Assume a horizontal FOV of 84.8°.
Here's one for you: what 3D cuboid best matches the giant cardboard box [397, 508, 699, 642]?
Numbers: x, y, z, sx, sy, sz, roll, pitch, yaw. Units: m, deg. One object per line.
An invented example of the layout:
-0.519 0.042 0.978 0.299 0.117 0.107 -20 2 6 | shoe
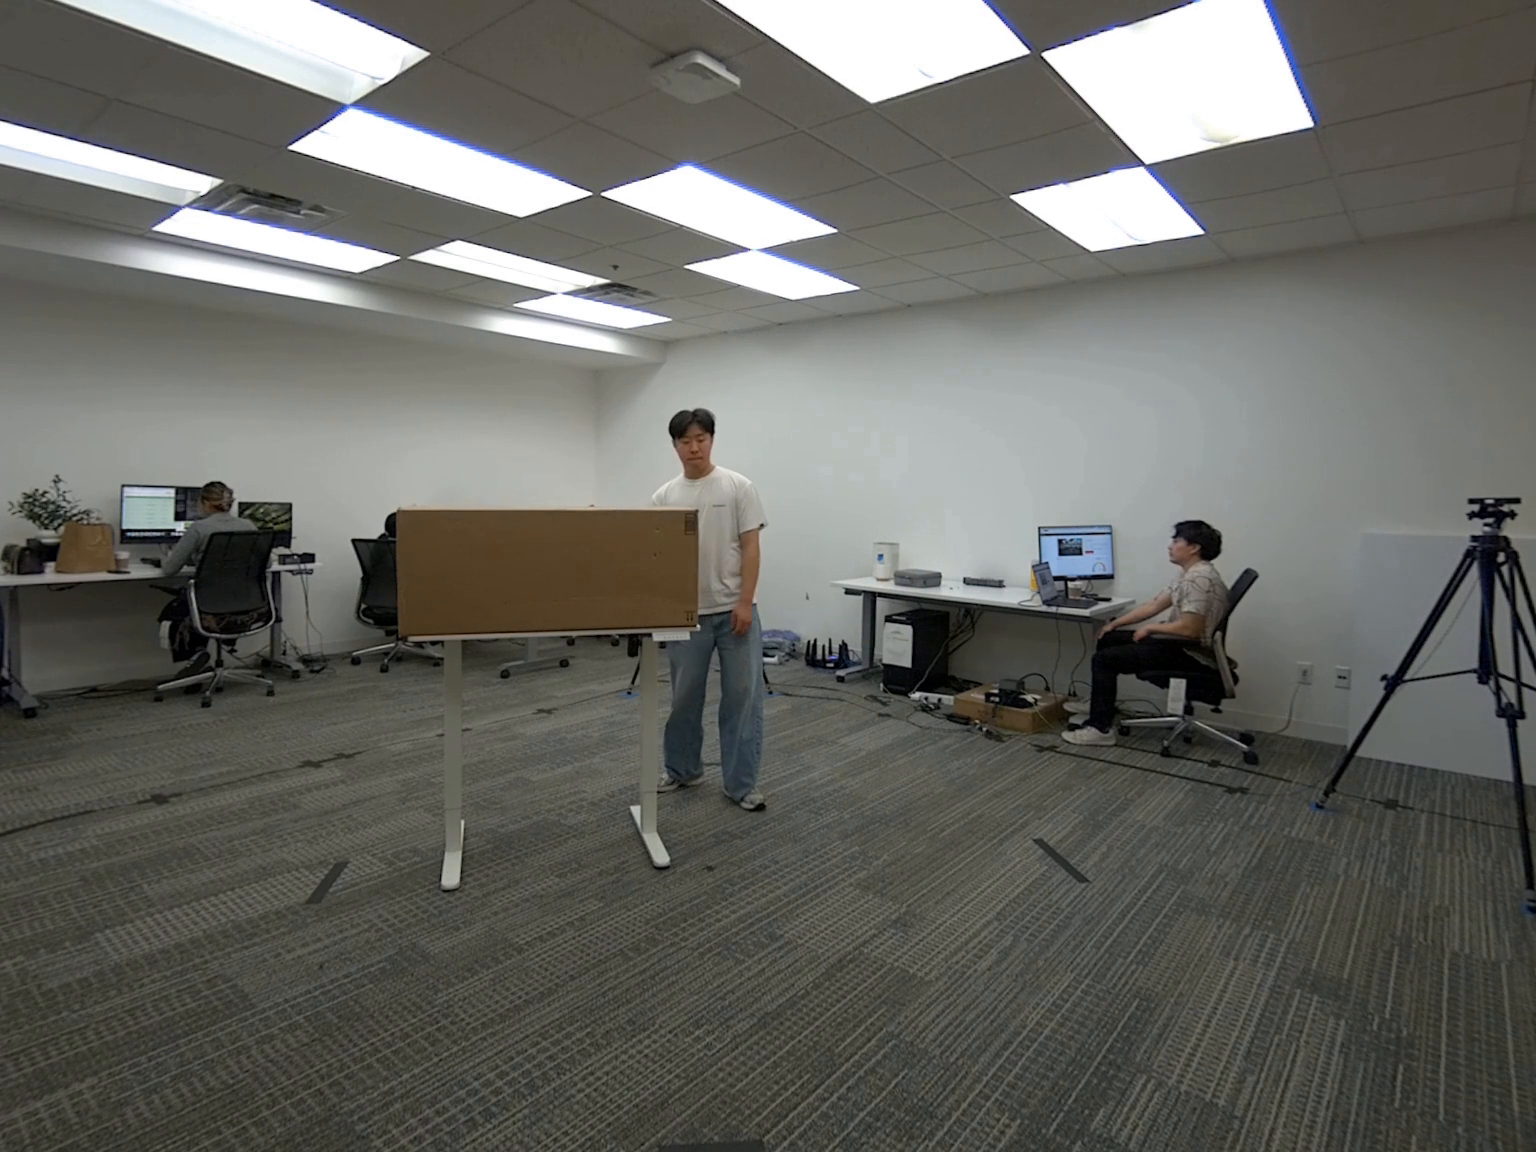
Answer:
-0.835 -0.046 3.195 1.010 0.424 0.589 -1 6 -16 | giant cardboard box
